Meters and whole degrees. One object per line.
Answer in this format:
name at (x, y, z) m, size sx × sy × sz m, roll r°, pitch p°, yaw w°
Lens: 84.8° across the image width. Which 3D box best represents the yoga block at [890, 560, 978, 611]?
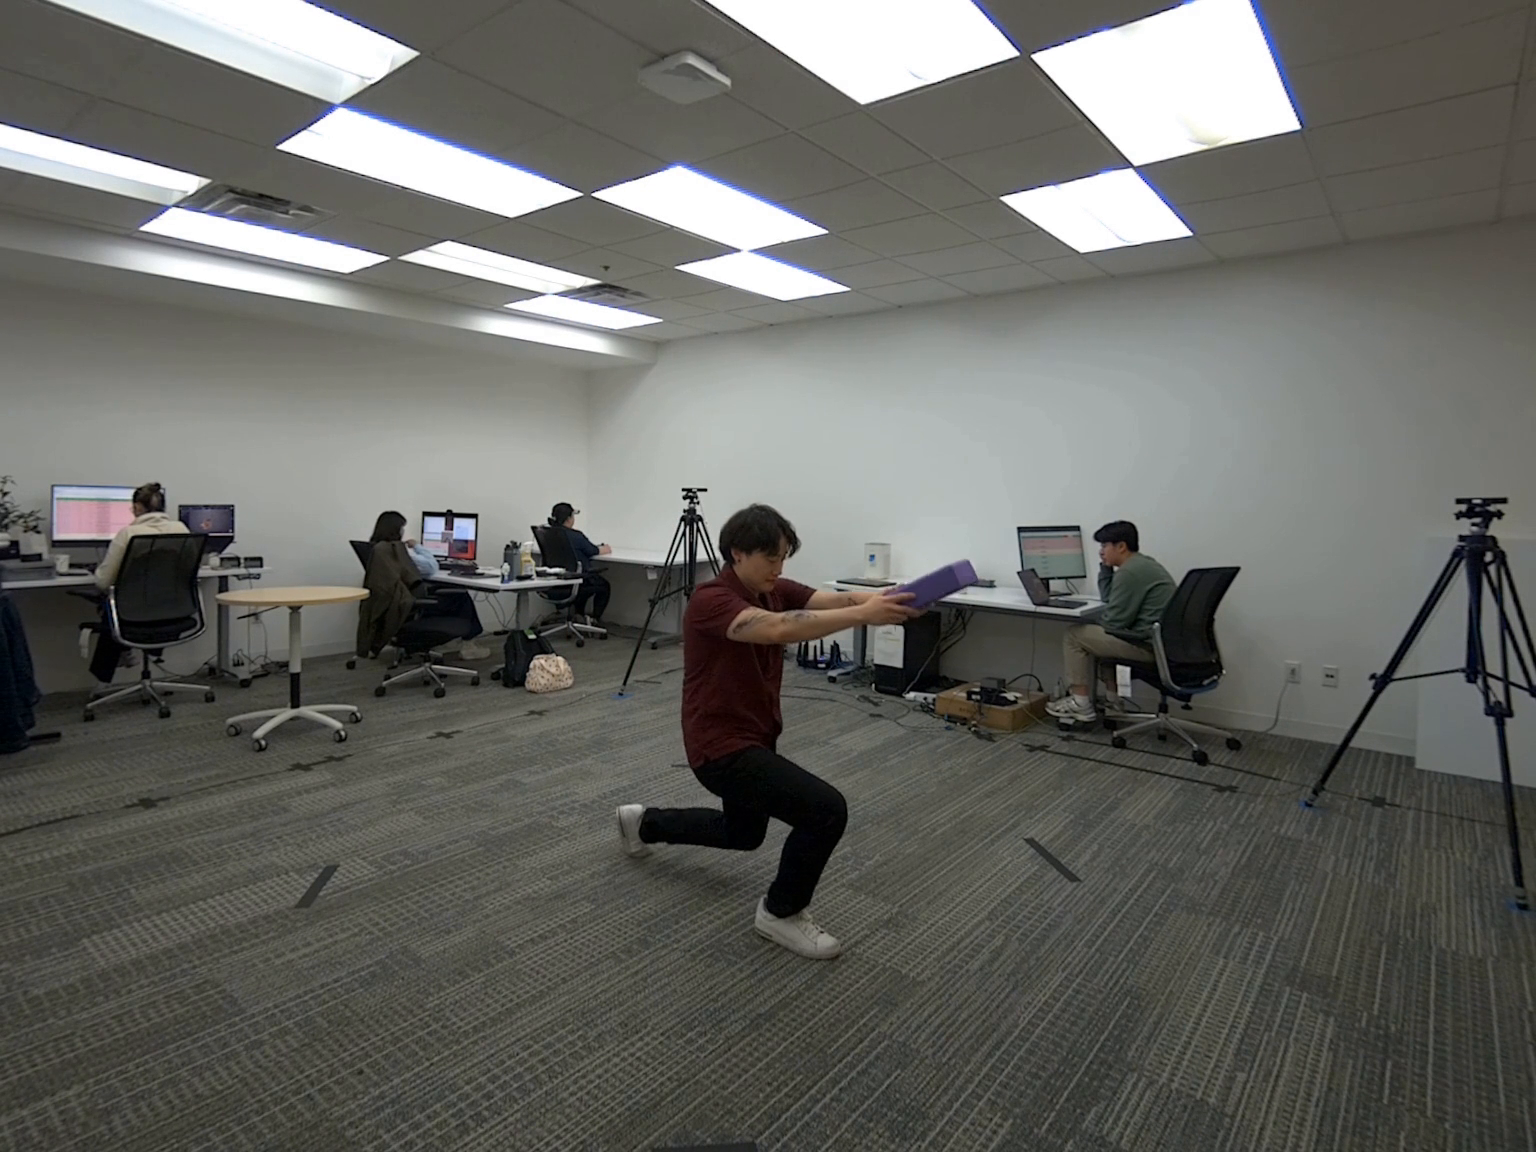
yoga block at (0.450, 0.025, 2.416) m, size 0.232 × 0.077 × 0.145 m, roll -28°, pitch -9°, yaw 35°
